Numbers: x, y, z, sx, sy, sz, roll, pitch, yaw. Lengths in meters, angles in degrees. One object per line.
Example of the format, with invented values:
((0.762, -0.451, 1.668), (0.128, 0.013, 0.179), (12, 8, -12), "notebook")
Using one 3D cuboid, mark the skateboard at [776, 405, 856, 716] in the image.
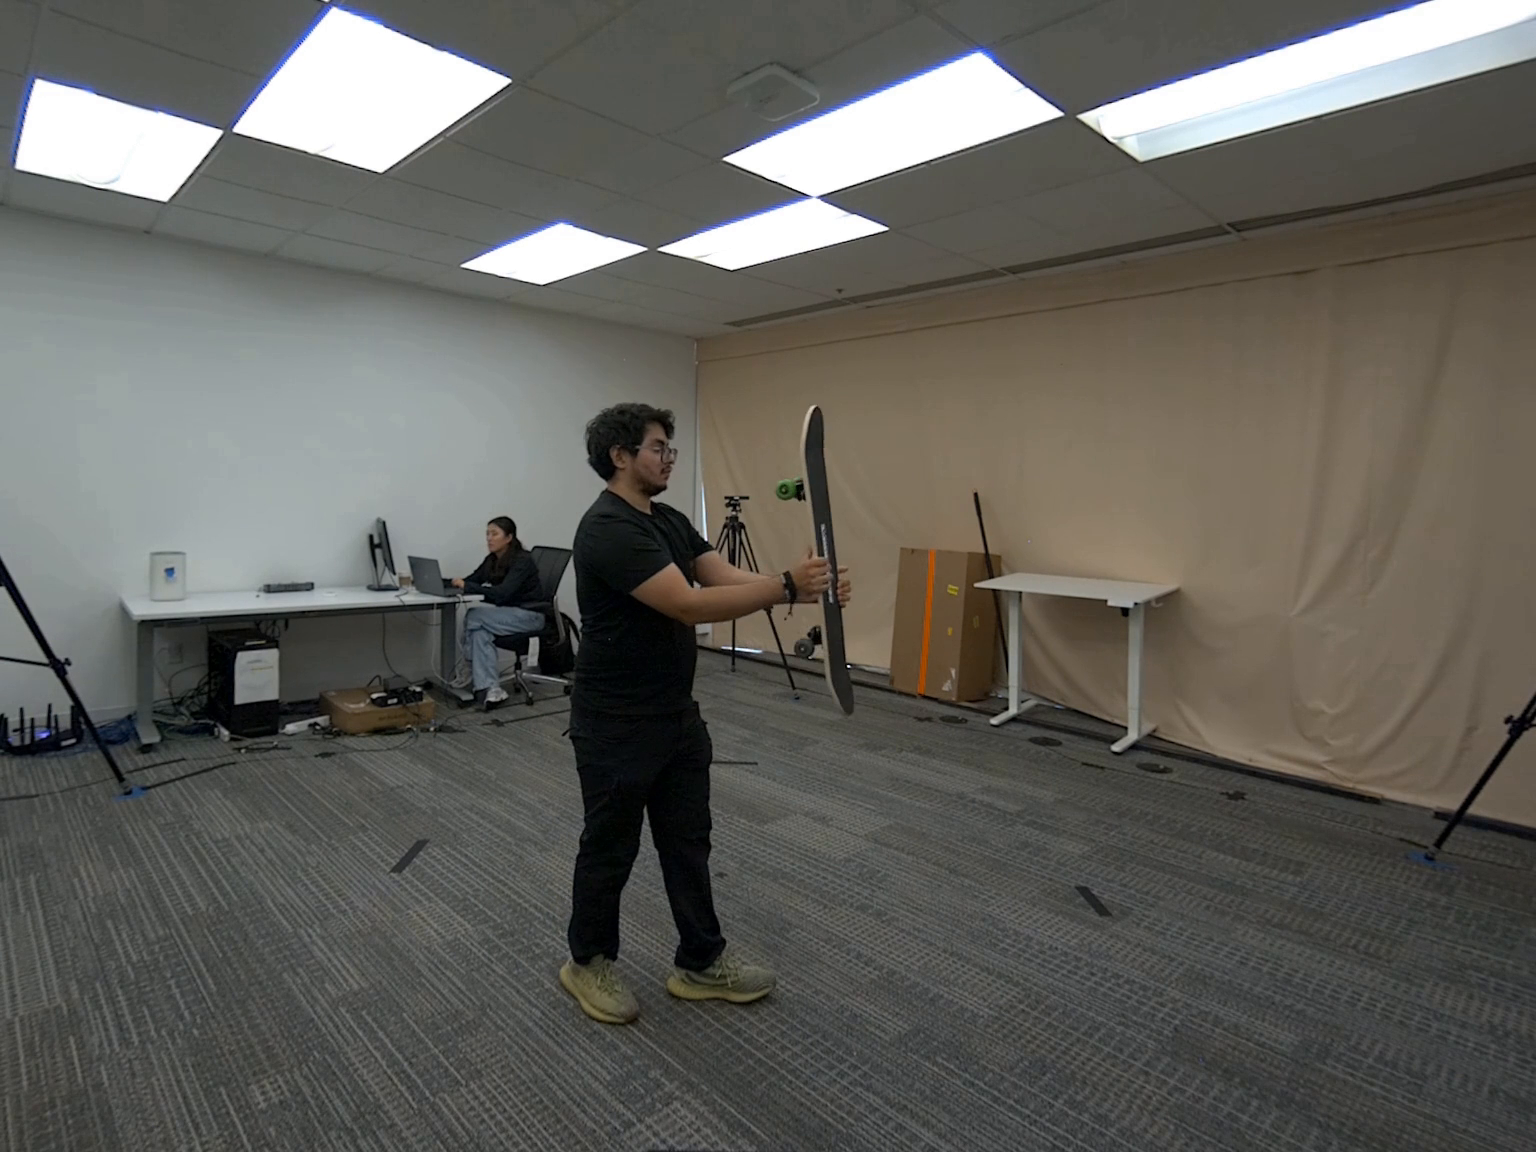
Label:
((0.122, -0.025, 2.134), (0.112, 0.782, 0.191), (-5, 6, 20), "skateboard")
